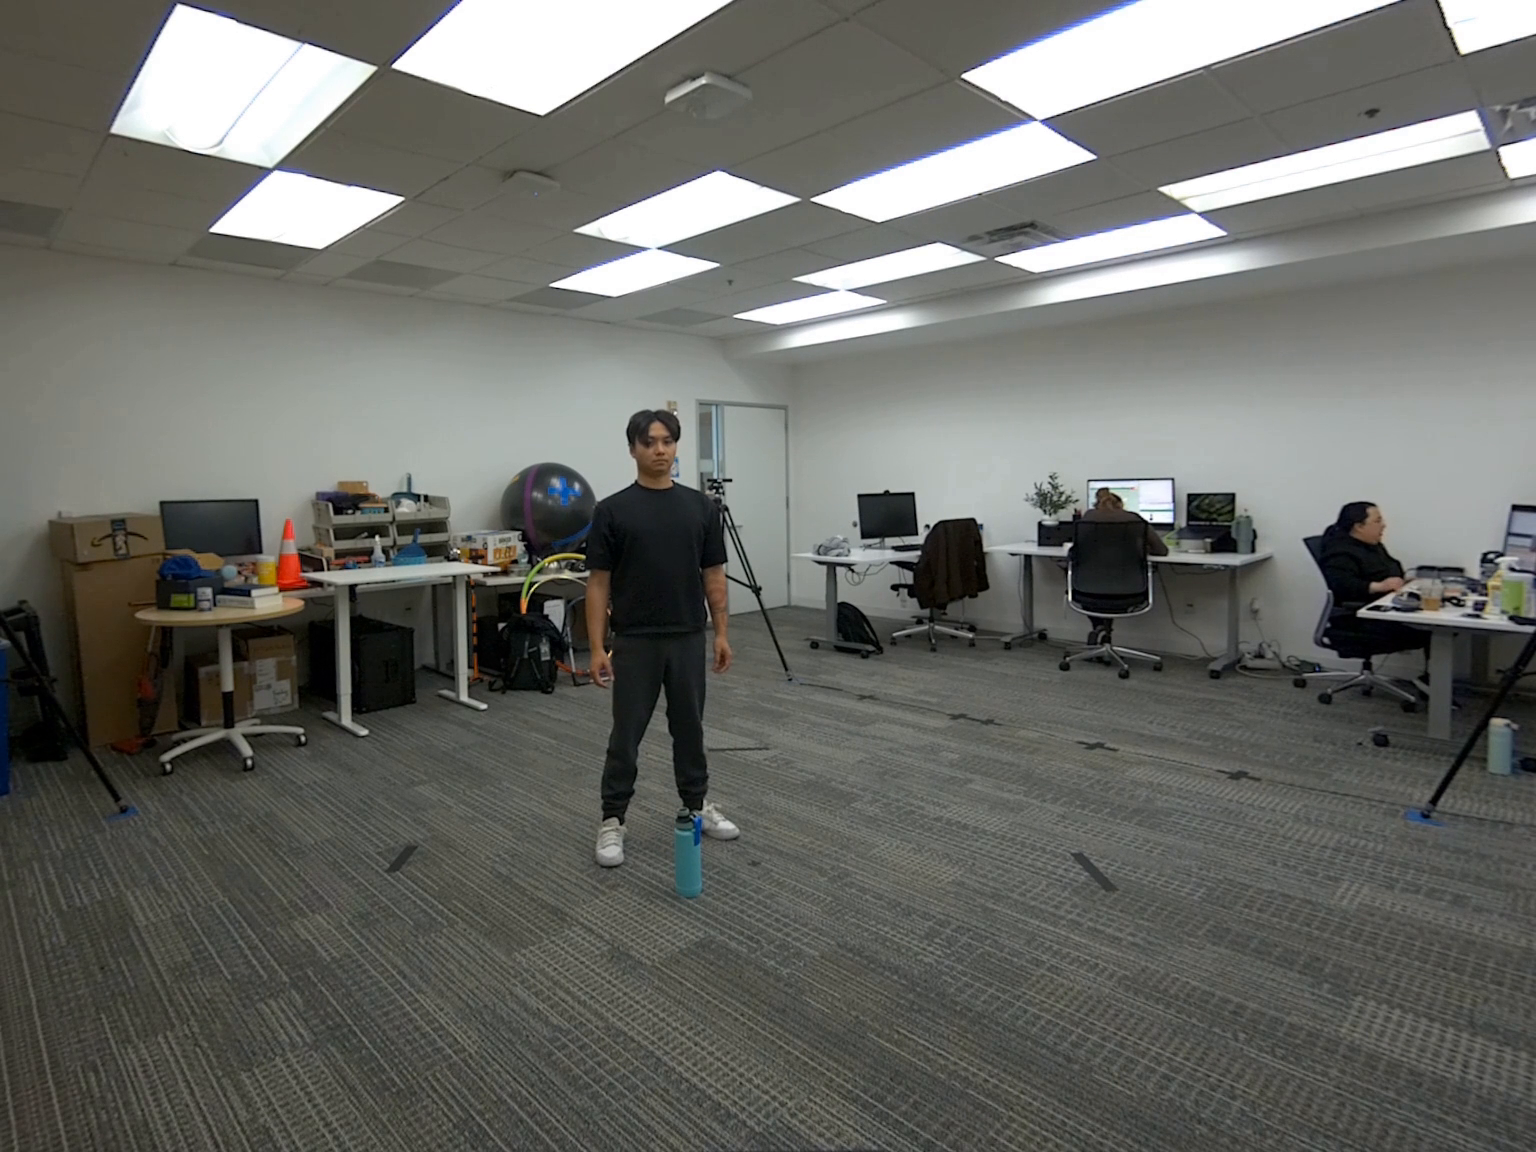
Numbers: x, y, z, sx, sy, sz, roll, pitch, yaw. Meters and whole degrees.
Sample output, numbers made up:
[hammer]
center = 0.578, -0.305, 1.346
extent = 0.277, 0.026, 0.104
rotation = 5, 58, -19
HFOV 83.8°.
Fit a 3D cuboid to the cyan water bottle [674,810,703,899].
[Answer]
[cyan water bottle]
center = -0.275, 0.941, 2.897
extent = 0.092, 0.282, 0.093
rotation = -1, 3, -2
